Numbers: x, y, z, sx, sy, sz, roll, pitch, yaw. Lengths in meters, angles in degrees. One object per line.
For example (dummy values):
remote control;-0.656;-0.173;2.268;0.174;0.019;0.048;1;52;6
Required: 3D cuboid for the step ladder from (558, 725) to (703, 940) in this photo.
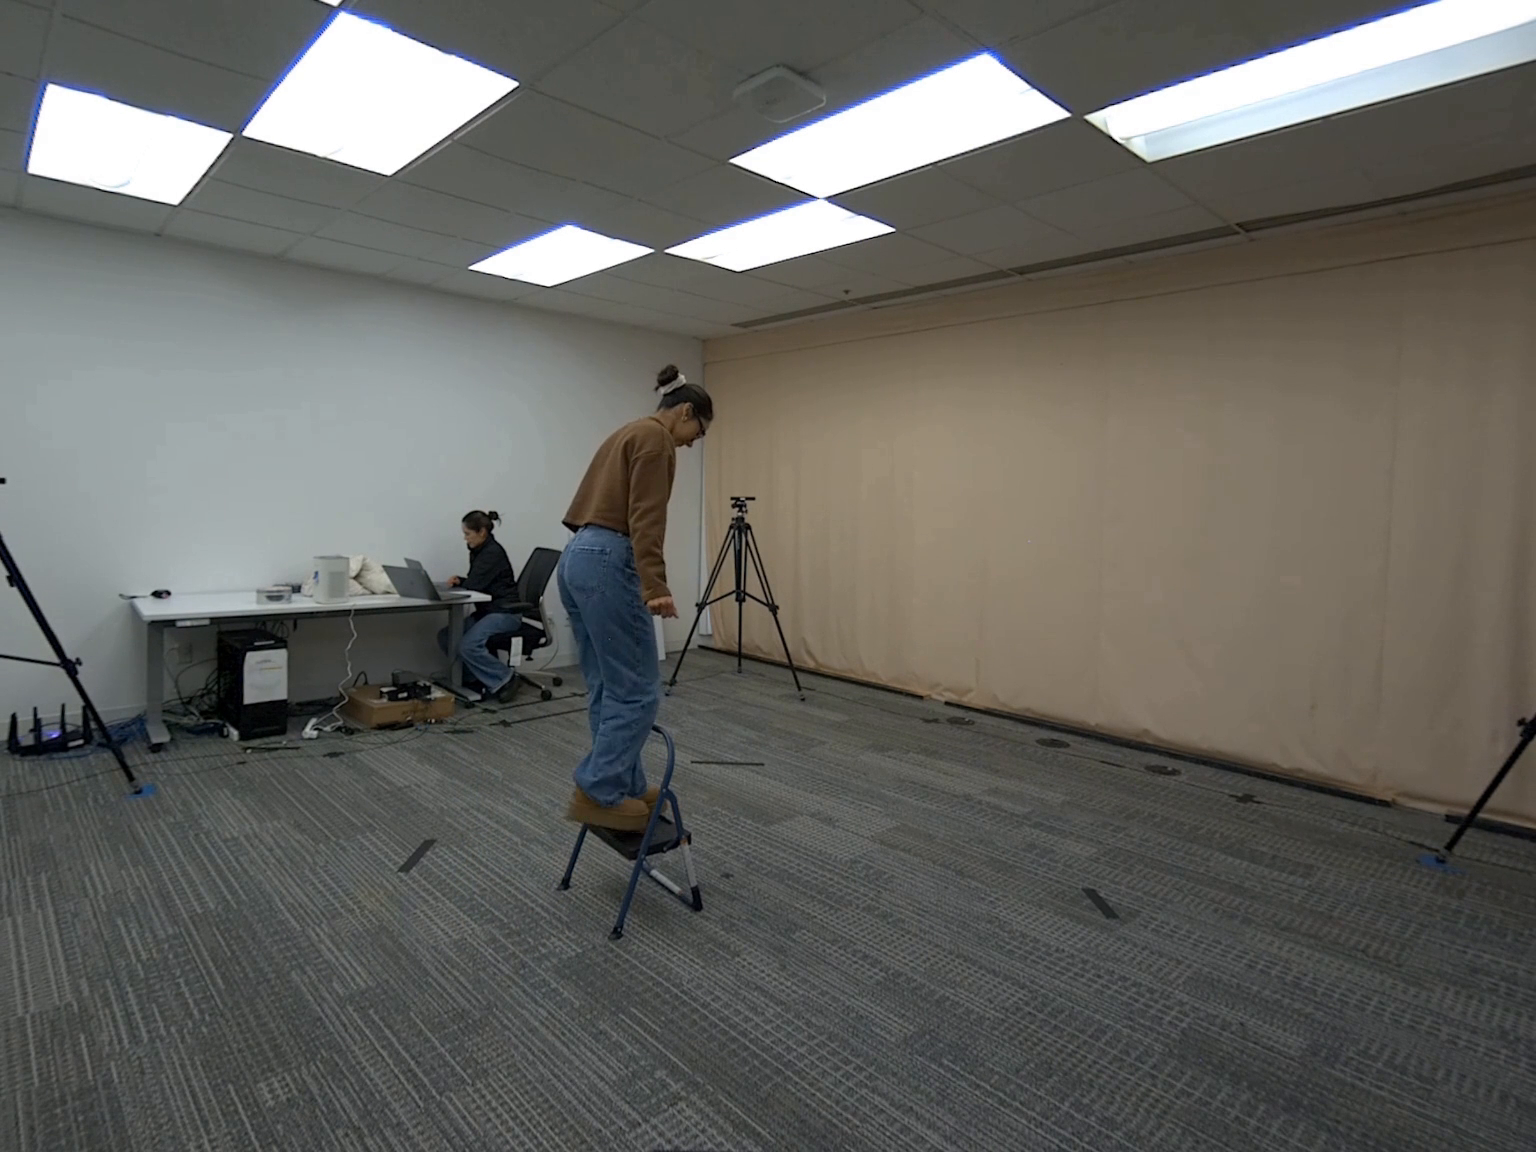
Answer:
step ladder;-0.475;0.819;2.889;0.341;0.605;0.441;-1;4;-37
